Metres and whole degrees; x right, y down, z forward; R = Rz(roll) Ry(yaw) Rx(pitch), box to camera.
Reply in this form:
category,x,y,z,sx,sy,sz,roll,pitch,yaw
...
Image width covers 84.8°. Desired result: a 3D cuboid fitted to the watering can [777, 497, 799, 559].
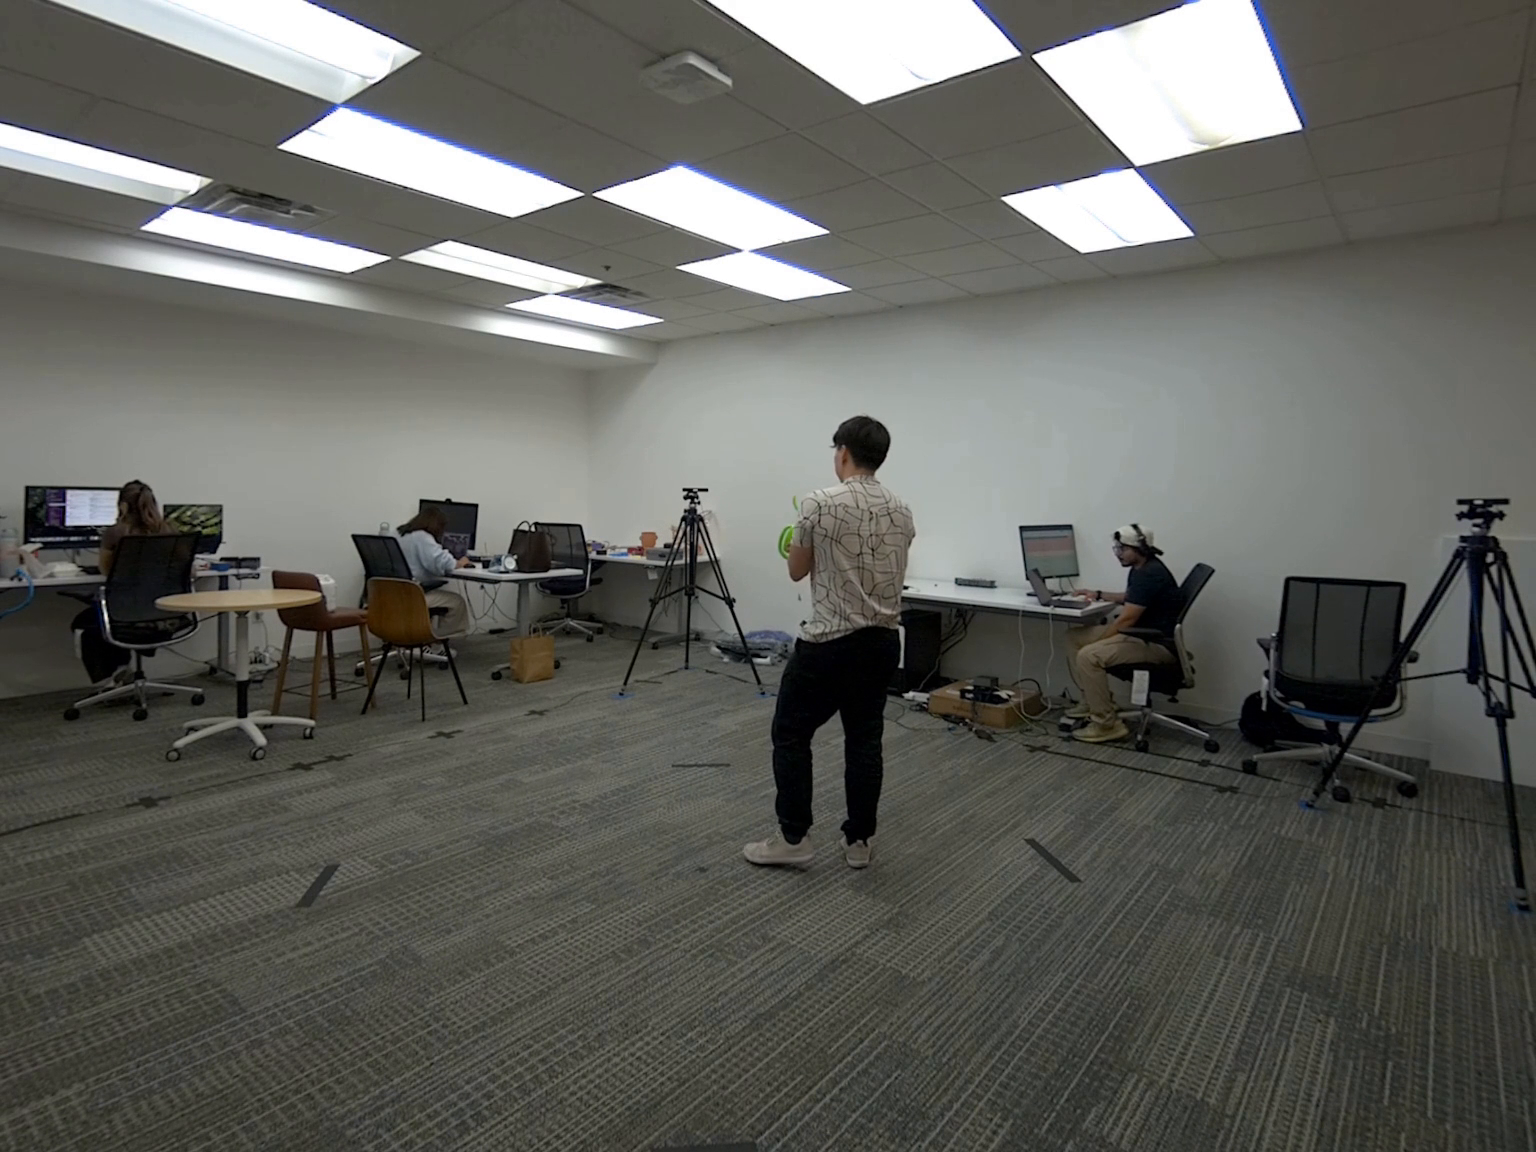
category,x,y,z,sx,sy,sz,roll,pitch,yaw
watering can,0.121,-0.178,3.559,0.182,0.273,0.097,31,40,22
